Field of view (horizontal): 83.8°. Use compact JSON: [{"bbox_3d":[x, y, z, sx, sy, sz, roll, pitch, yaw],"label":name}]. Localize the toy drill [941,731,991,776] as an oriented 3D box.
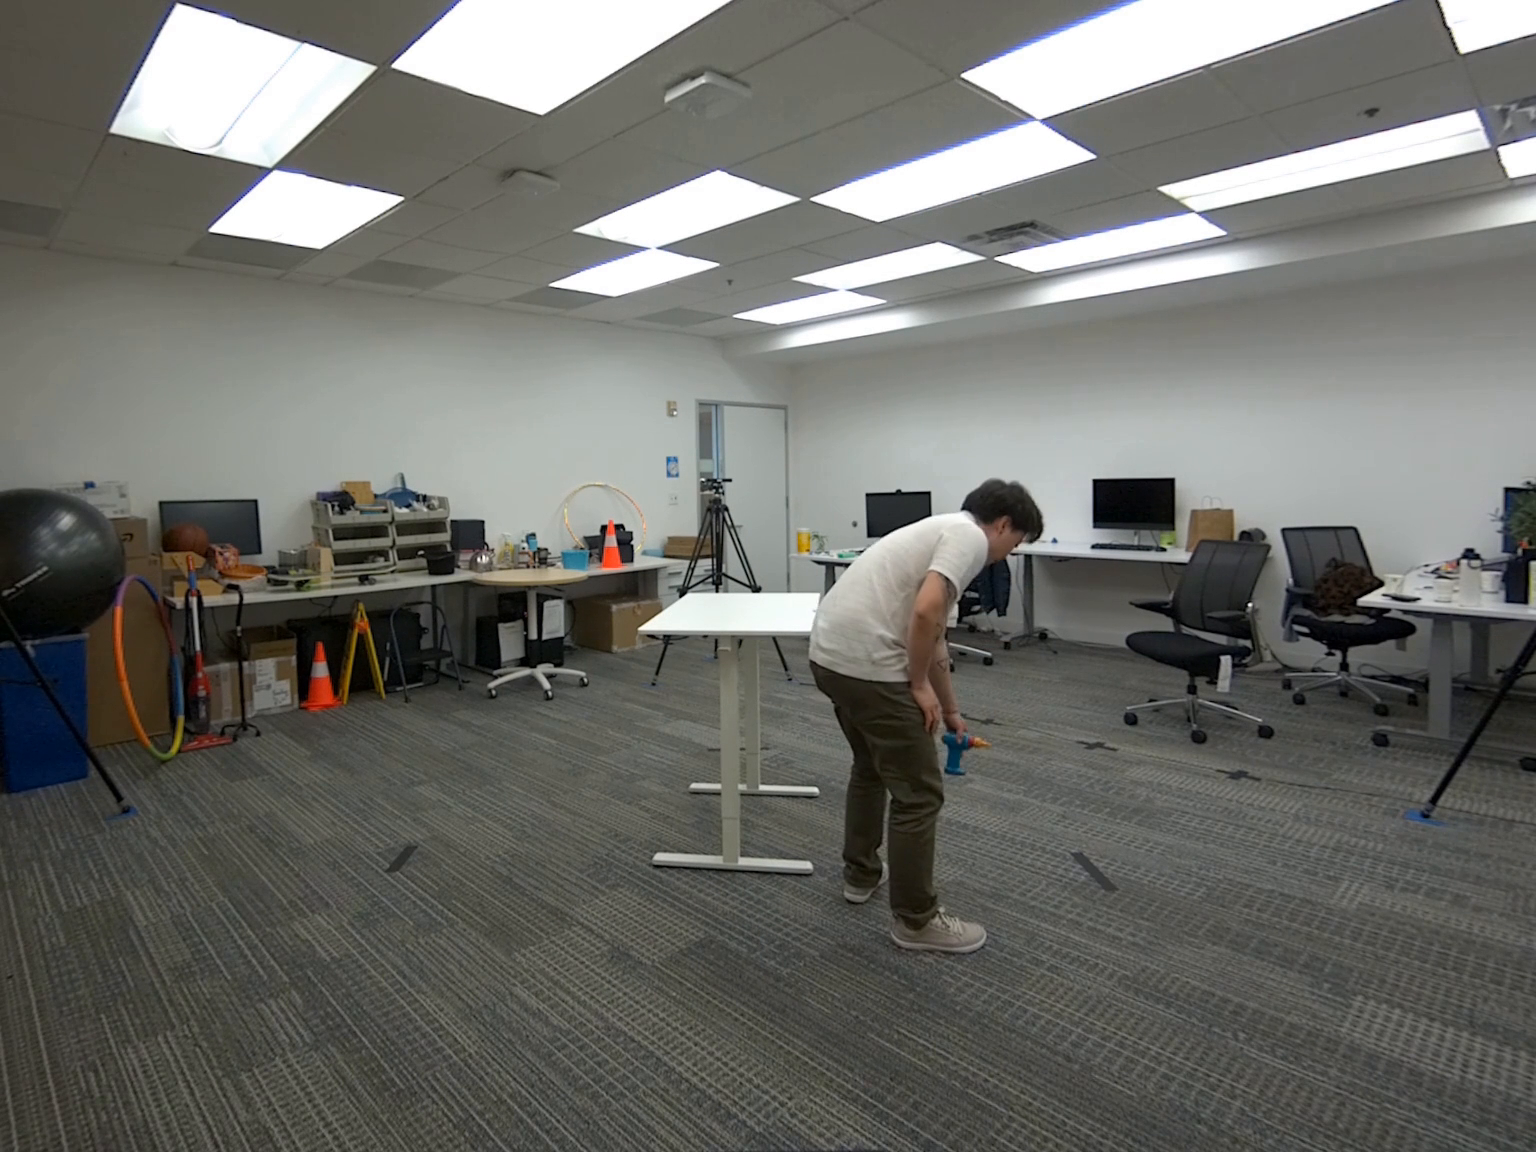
[{"bbox_3d":[0.663,0.596,2.869,0.175,0.146,0.059,6,3,31],"label":"toy drill"}]
